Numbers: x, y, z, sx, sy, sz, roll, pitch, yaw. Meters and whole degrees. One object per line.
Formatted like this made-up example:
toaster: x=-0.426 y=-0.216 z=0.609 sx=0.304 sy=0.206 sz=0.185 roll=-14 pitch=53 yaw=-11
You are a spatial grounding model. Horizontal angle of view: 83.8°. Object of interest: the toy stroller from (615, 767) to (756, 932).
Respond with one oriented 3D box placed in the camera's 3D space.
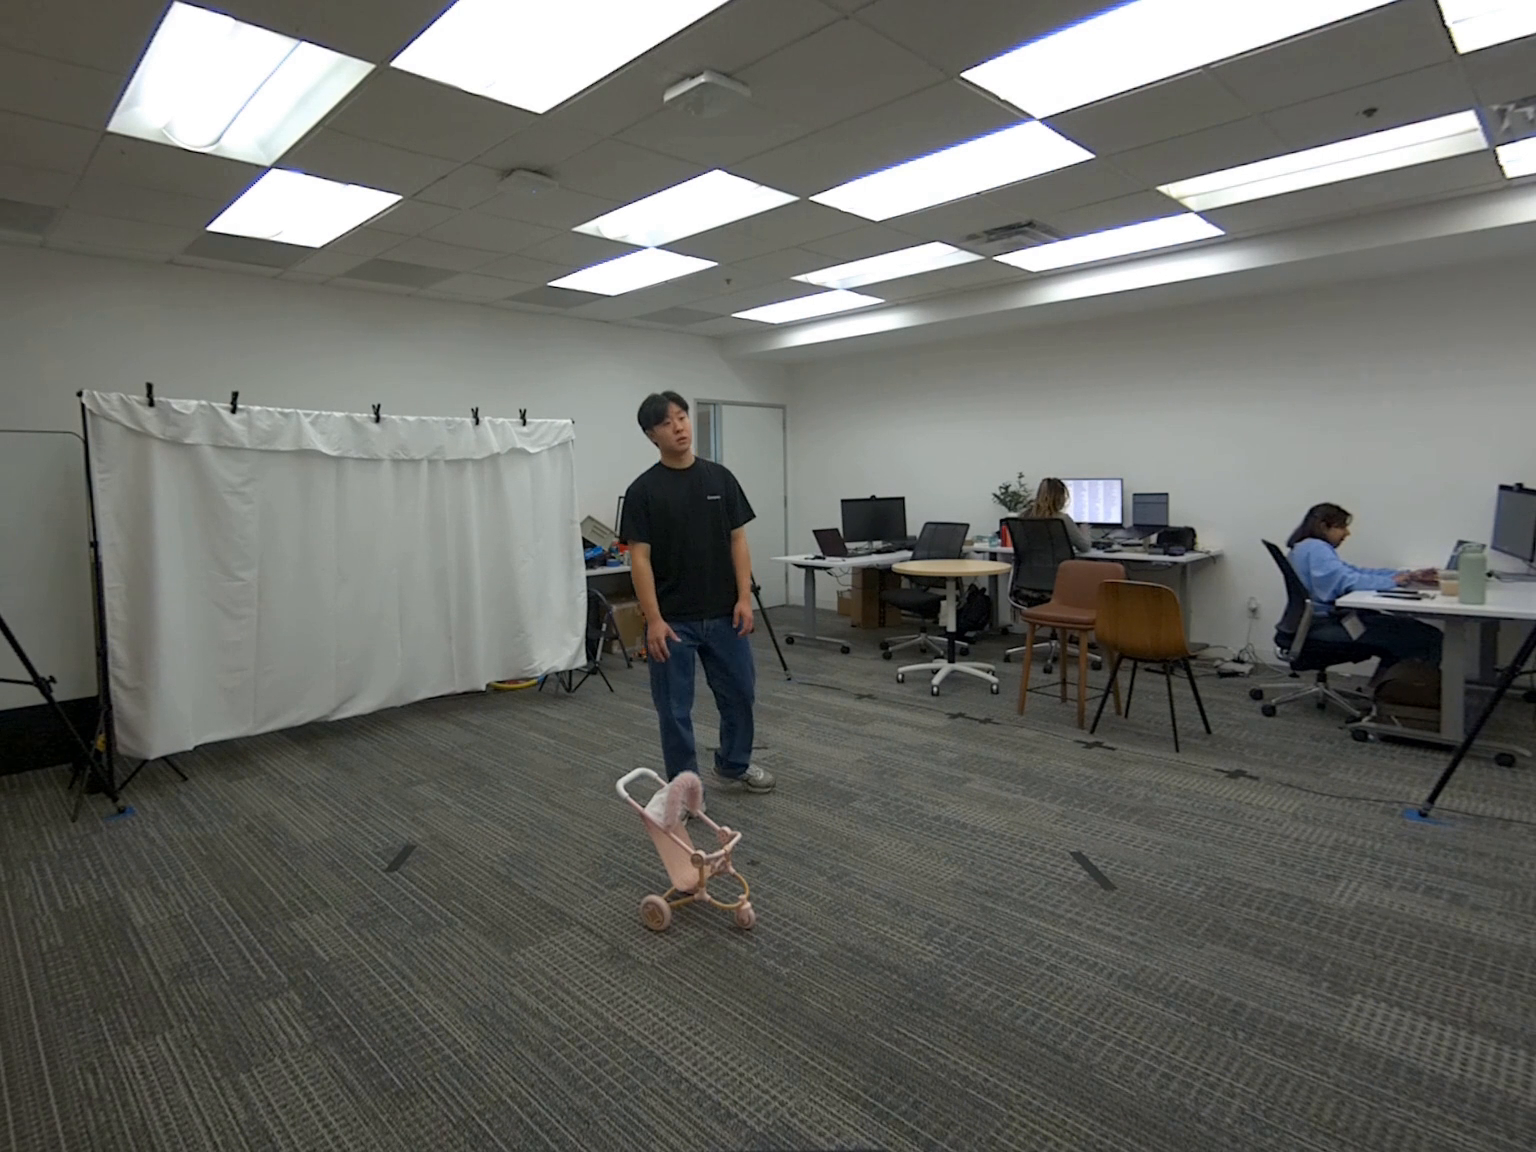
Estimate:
toy stroller: x=-0.248 y=0.872 z=2.722 sx=0.347 sy=0.537 sz=0.276 roll=-18 pitch=-2 yaw=30
